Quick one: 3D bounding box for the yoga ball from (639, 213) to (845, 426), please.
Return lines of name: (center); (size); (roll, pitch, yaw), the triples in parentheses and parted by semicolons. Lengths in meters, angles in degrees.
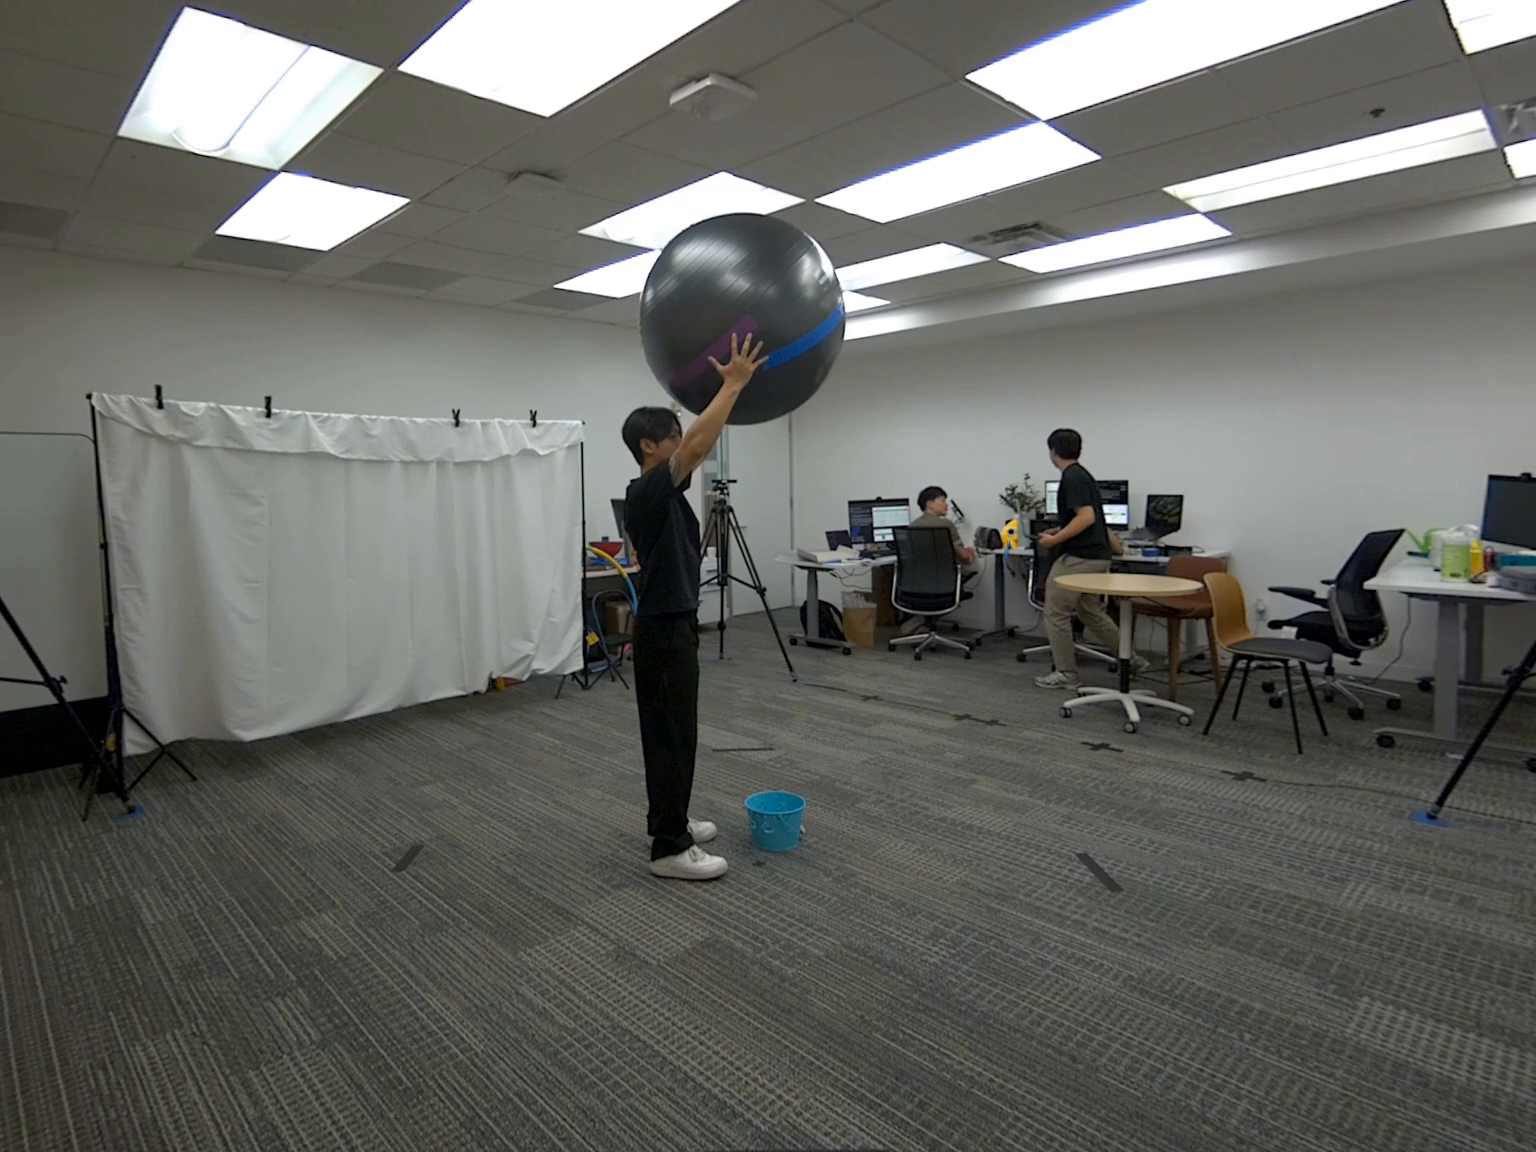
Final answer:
yoga ball: (-0.096, -0.935, 3.146); (0.757, 0.755, 0.762); (-1, 5, -2)
